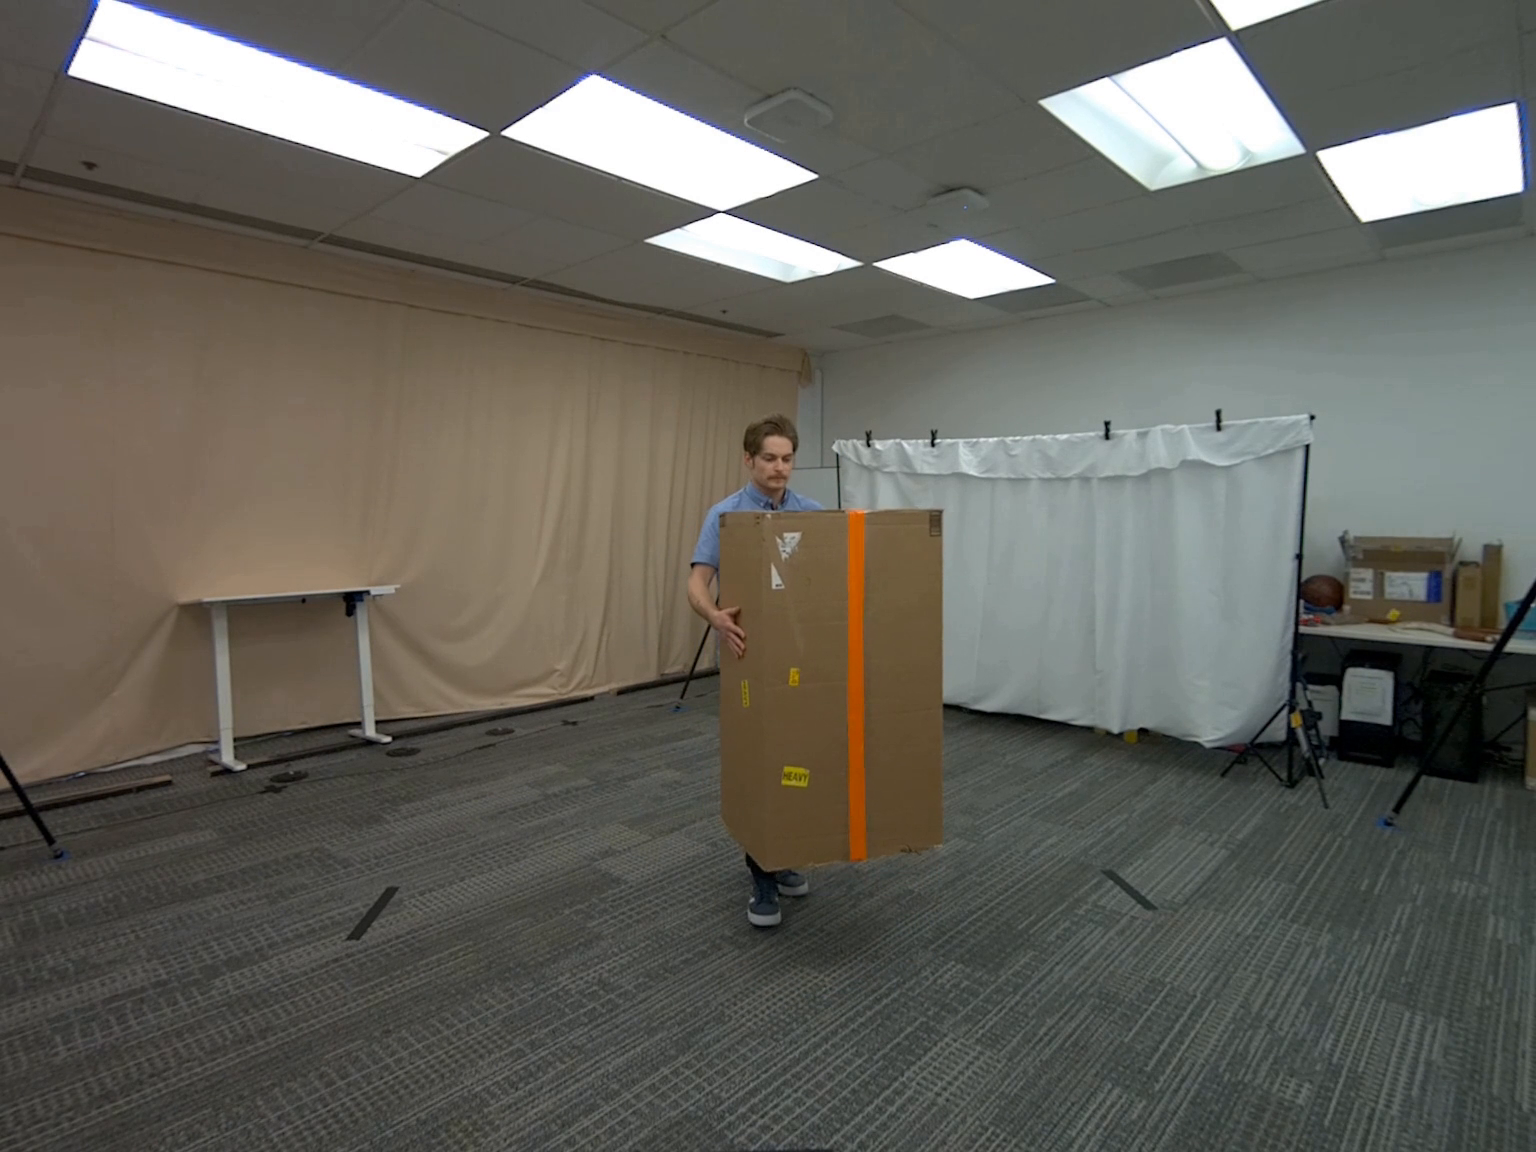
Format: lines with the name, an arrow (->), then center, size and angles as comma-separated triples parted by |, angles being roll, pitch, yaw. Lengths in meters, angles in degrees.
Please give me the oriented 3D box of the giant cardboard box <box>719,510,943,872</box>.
giant cardboard box -> 0.187, 0.309, 2.625 | 0.567, 1.025, 0.434 | -1, 2, -18
